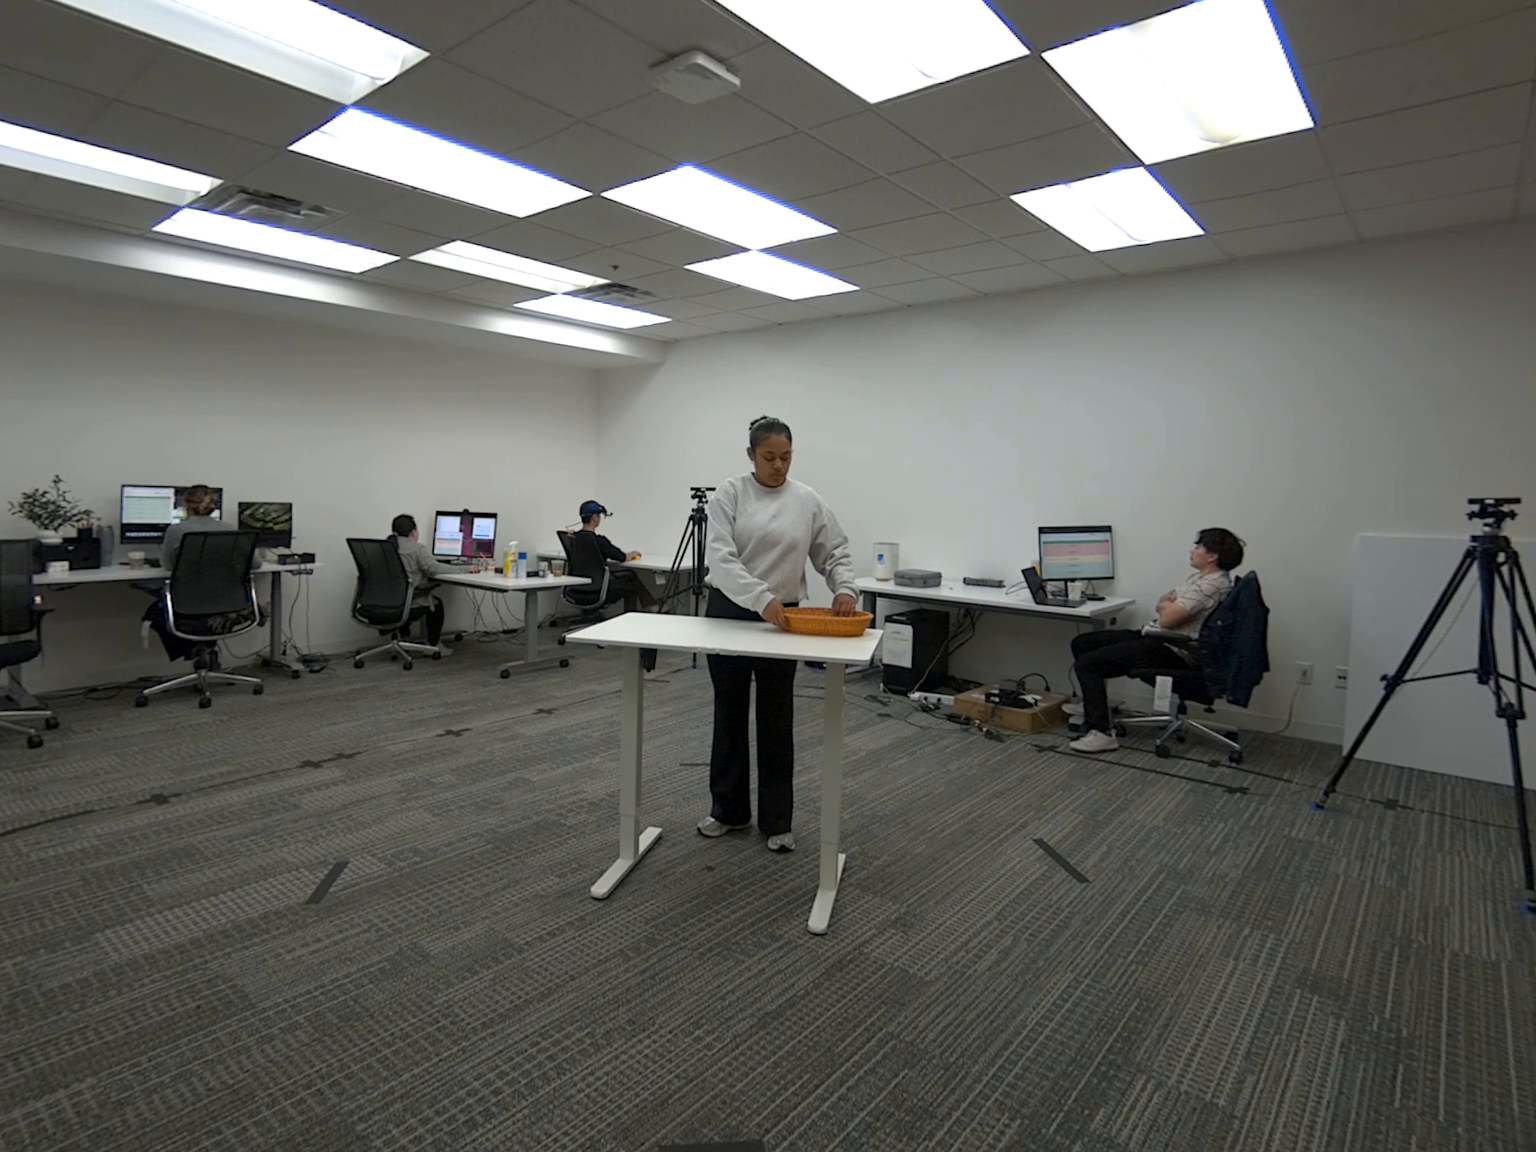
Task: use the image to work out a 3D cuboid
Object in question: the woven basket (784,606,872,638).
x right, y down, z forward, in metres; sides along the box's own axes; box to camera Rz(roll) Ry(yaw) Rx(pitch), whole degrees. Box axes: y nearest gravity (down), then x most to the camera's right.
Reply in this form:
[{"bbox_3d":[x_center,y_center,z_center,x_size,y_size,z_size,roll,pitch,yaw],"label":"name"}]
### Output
[{"bbox_3d":[0.193,0.166,3.083,0.357,0.073,0.249,3,6,15],"label":"woven basket"}]
